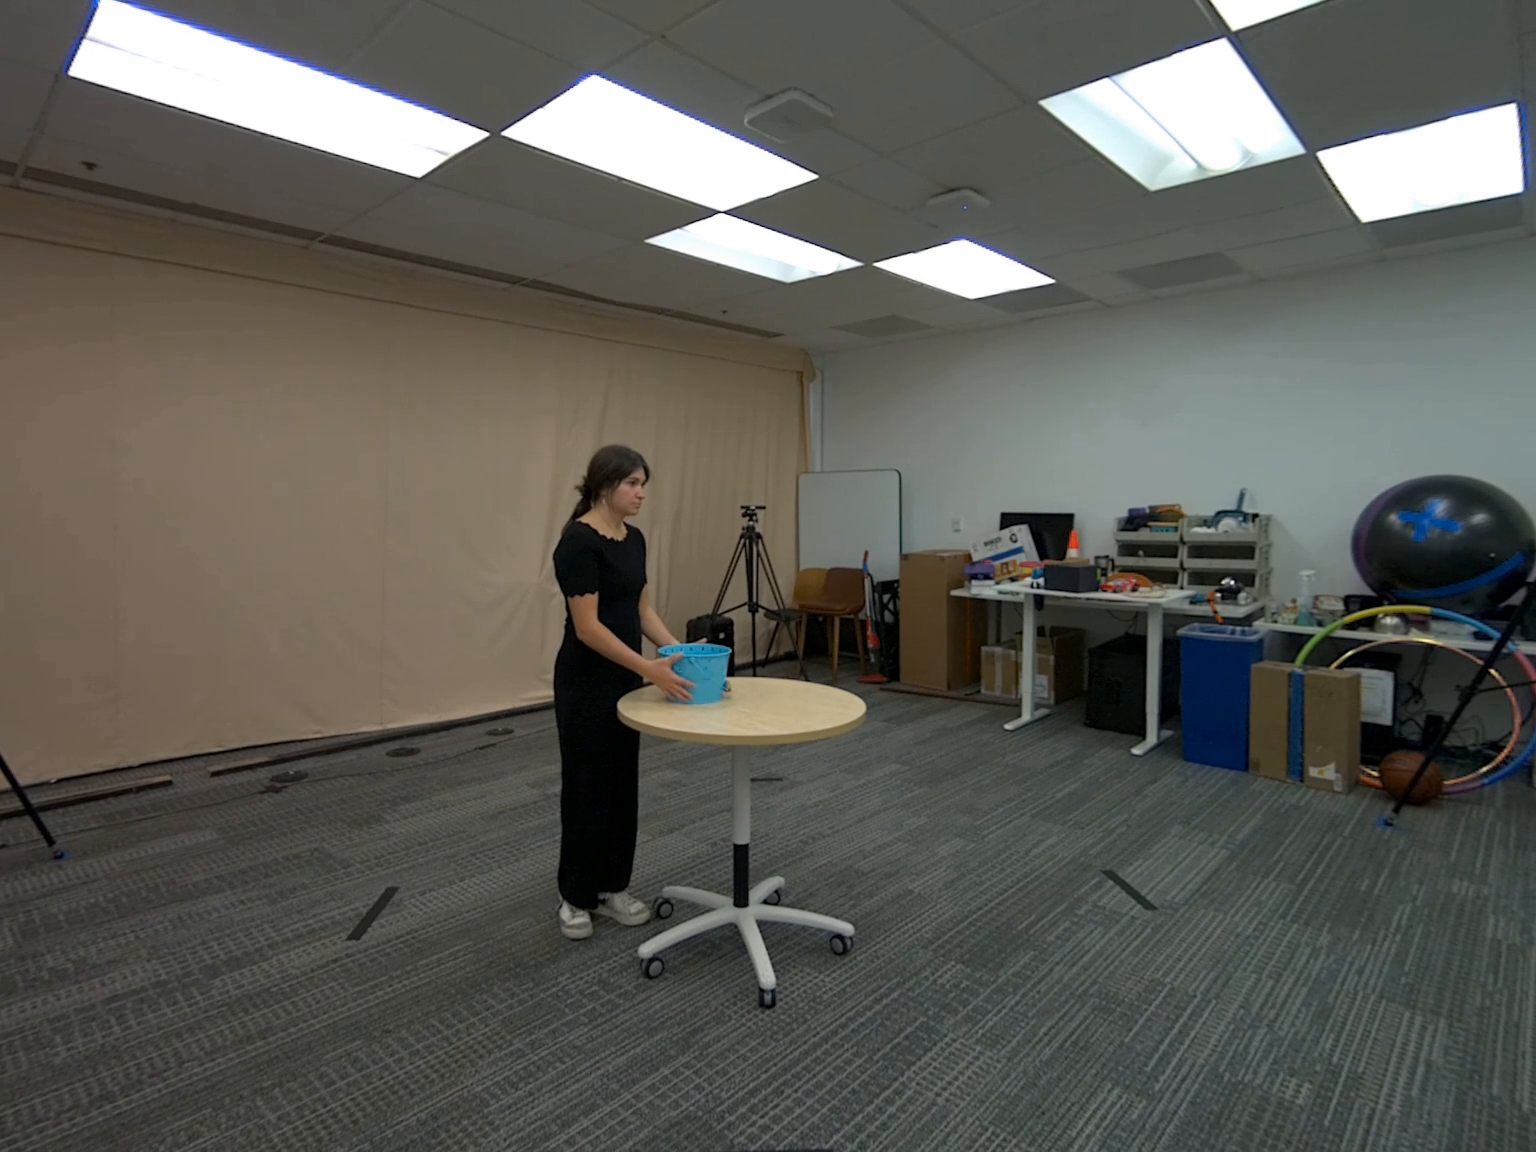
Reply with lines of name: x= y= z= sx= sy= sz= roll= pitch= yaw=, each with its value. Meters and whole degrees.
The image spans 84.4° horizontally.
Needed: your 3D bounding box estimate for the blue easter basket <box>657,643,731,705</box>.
blue easter basket: x=-0.234 y=0.319 z=2.650 sx=0.243 sy=0.155 sz=0.244 roll=-1 pitch=3 yaw=-2
